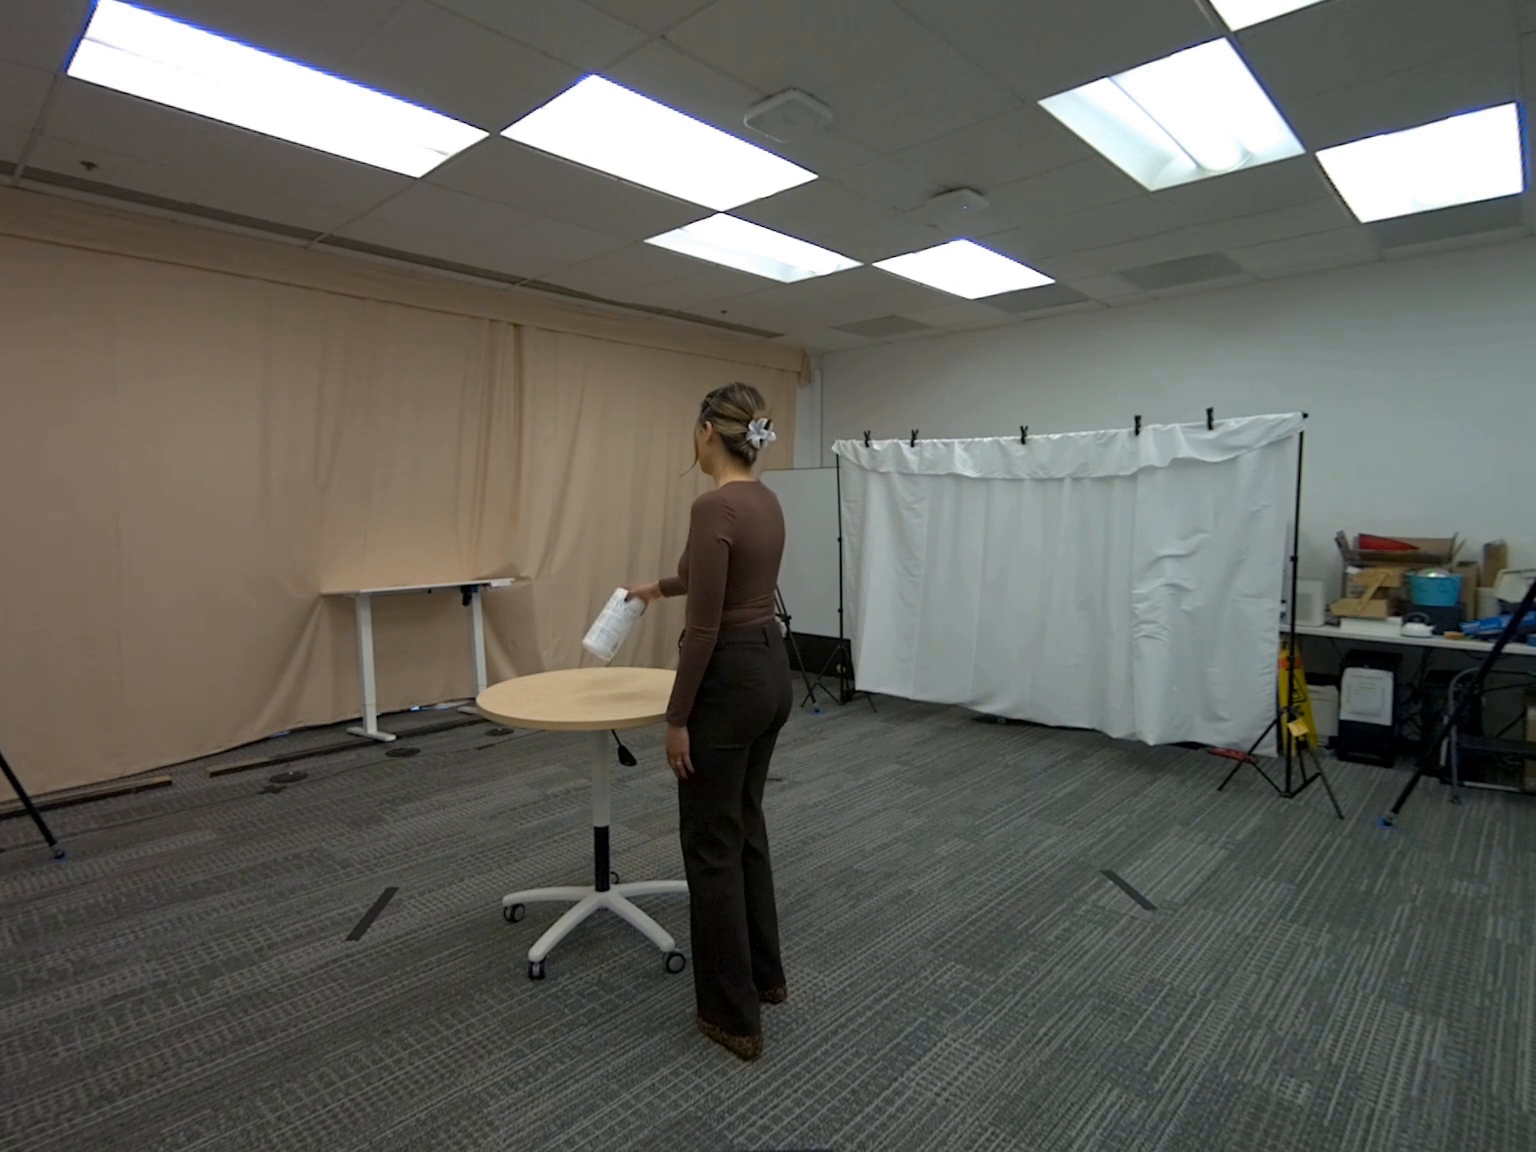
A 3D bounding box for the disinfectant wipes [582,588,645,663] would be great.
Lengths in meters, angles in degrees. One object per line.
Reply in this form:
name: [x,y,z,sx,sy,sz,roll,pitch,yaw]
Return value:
disinfectant wipes: [-0.480,0.157,2.683,0.119,0.217,0.117,27,-15,6]
